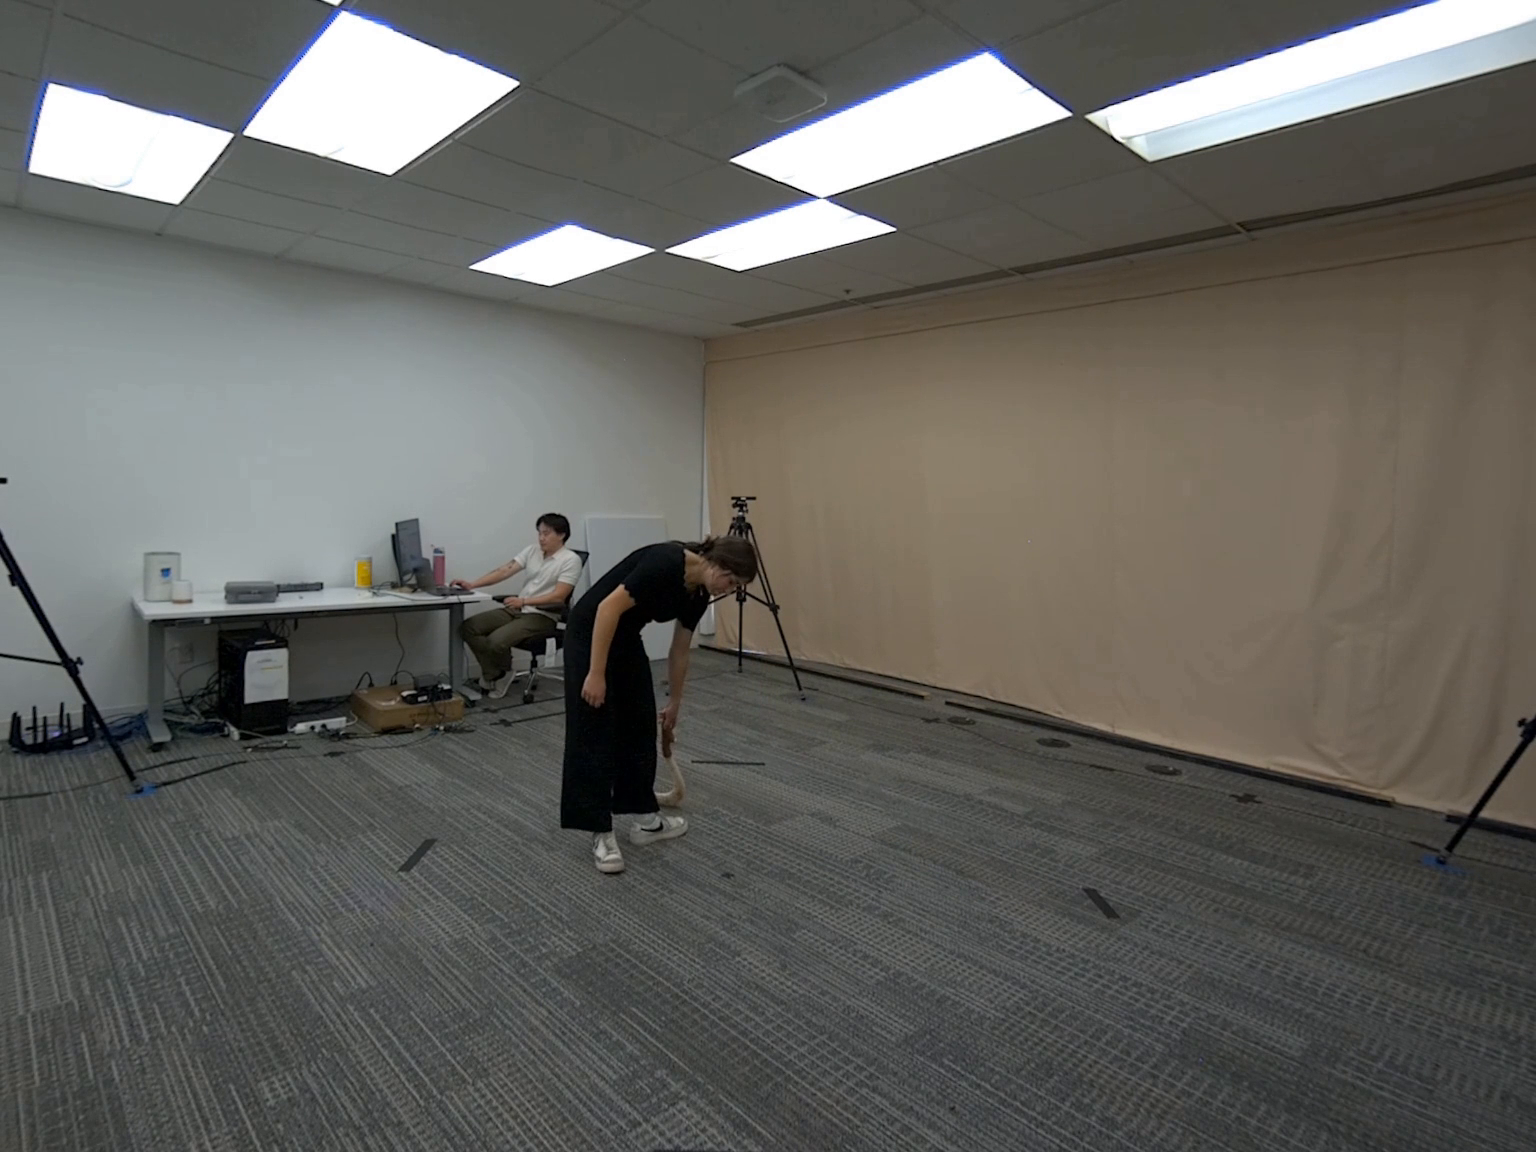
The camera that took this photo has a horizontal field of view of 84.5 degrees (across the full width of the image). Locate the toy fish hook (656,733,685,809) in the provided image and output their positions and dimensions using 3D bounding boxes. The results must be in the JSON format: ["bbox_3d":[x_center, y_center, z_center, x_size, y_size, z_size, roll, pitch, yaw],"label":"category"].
[{"bbox_3d":[-0.493,0.823,3.682,0.225,0.497,0.049,1,30,3],"label":"toy fish hook"}]
